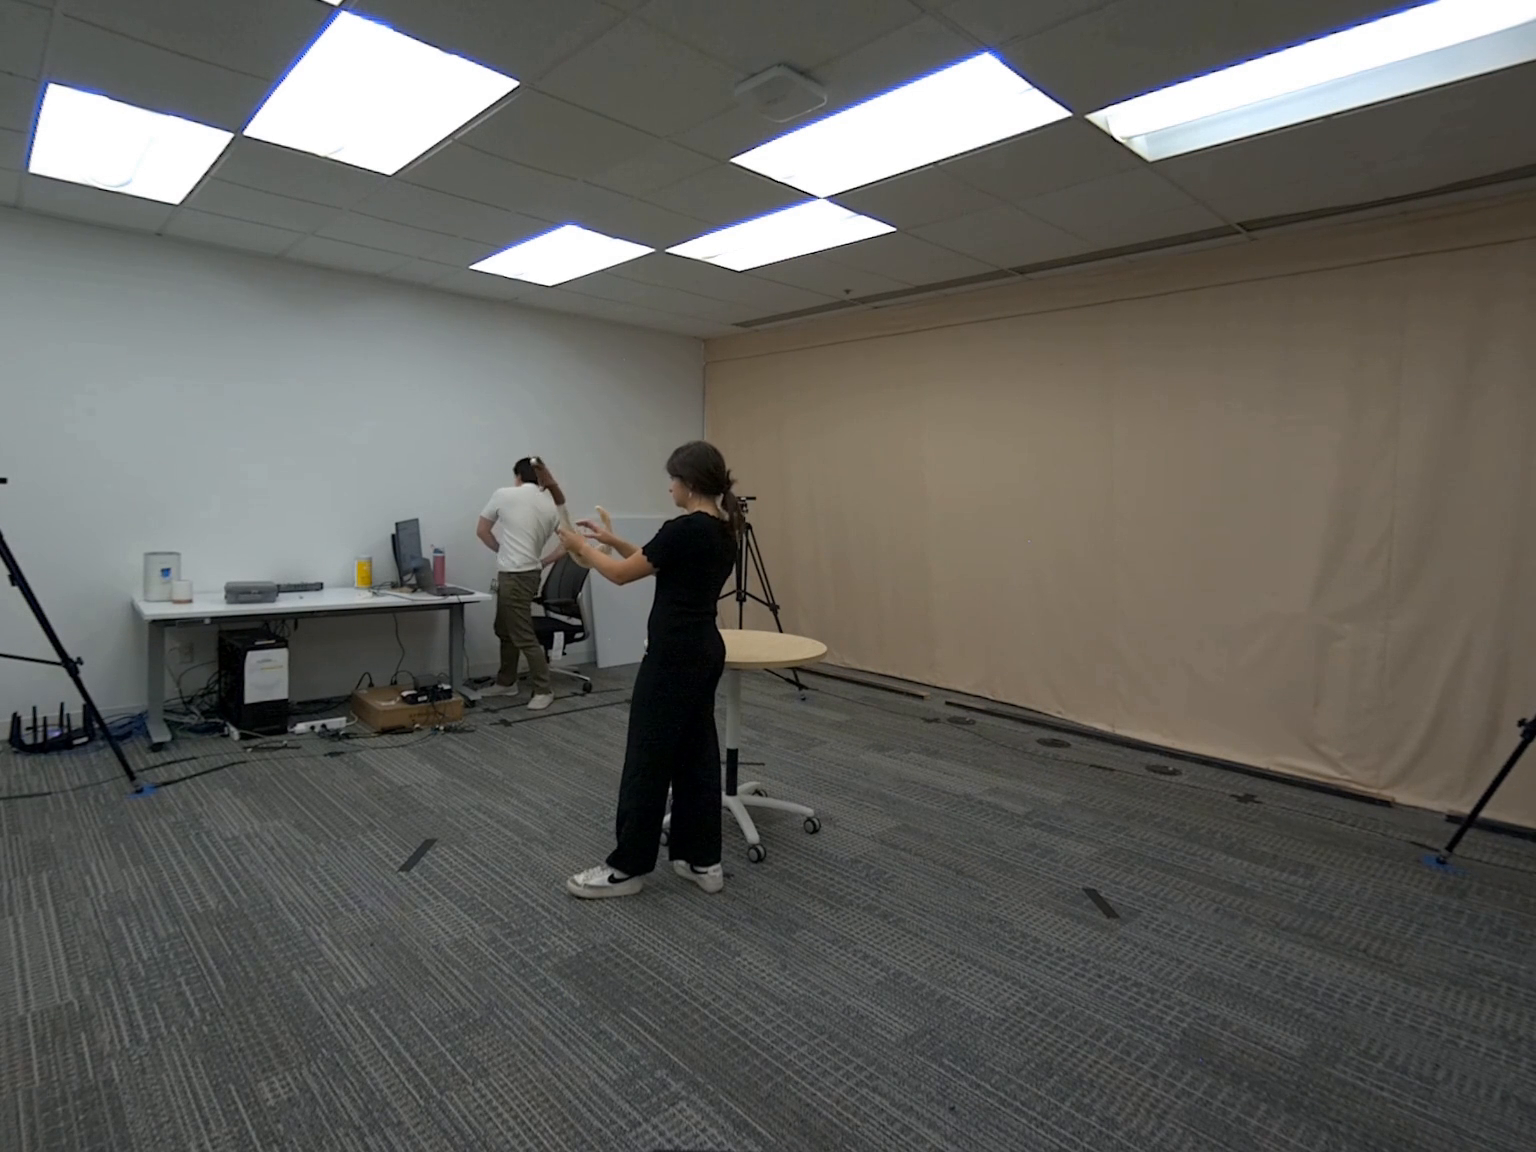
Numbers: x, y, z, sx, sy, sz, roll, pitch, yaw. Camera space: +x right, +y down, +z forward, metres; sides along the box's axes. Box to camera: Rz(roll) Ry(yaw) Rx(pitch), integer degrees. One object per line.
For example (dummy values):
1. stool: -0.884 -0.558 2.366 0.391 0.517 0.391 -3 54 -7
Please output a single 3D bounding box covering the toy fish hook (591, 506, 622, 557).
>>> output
1. toy fish hook: -0.721 -0.251 3.131 0.049 0.494 0.224 6 40 37
